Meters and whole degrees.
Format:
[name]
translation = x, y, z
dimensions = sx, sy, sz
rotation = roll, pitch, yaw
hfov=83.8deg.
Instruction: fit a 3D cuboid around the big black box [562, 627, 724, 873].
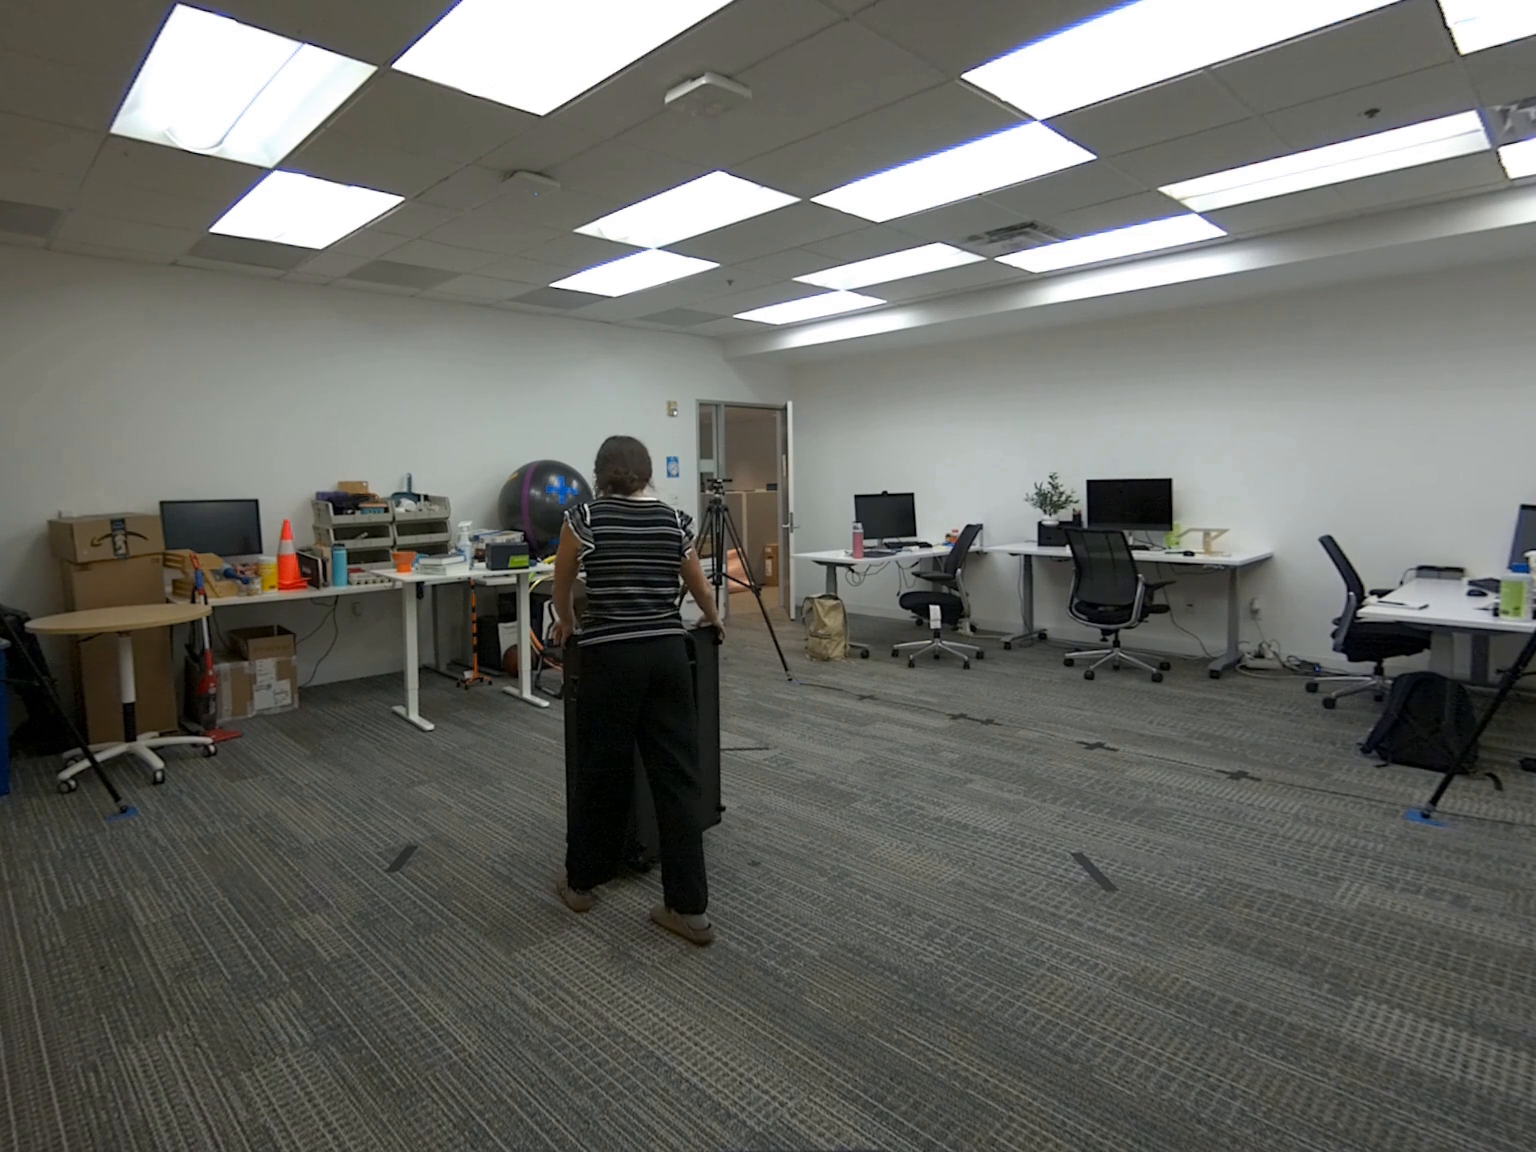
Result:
[big black box]
translation = -0.454, 0.614, 3.202
dimensions = 0.408, 0.858, 0.508
rotation = 4, 6, 36
